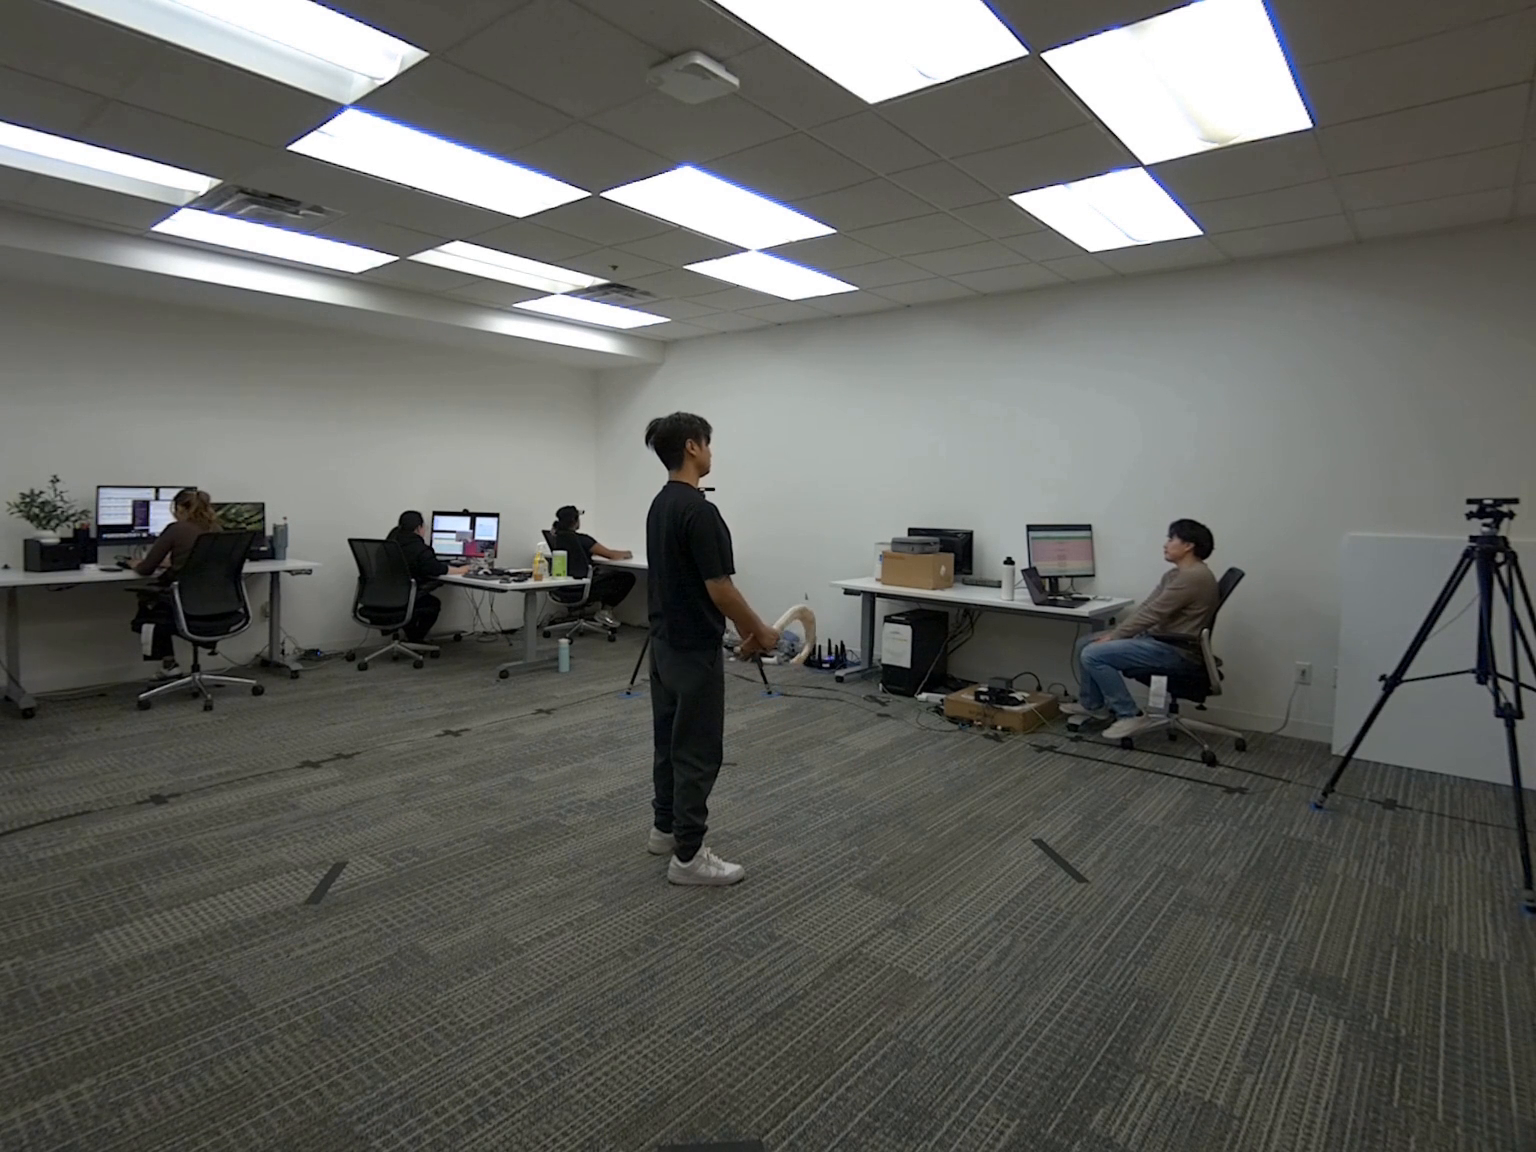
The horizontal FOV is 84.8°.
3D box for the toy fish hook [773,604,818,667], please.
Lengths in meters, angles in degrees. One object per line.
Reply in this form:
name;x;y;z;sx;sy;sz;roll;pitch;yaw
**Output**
toy fish hook;0.026;0.254;3.151;0.049;0.223;0.497;-7;11;40
